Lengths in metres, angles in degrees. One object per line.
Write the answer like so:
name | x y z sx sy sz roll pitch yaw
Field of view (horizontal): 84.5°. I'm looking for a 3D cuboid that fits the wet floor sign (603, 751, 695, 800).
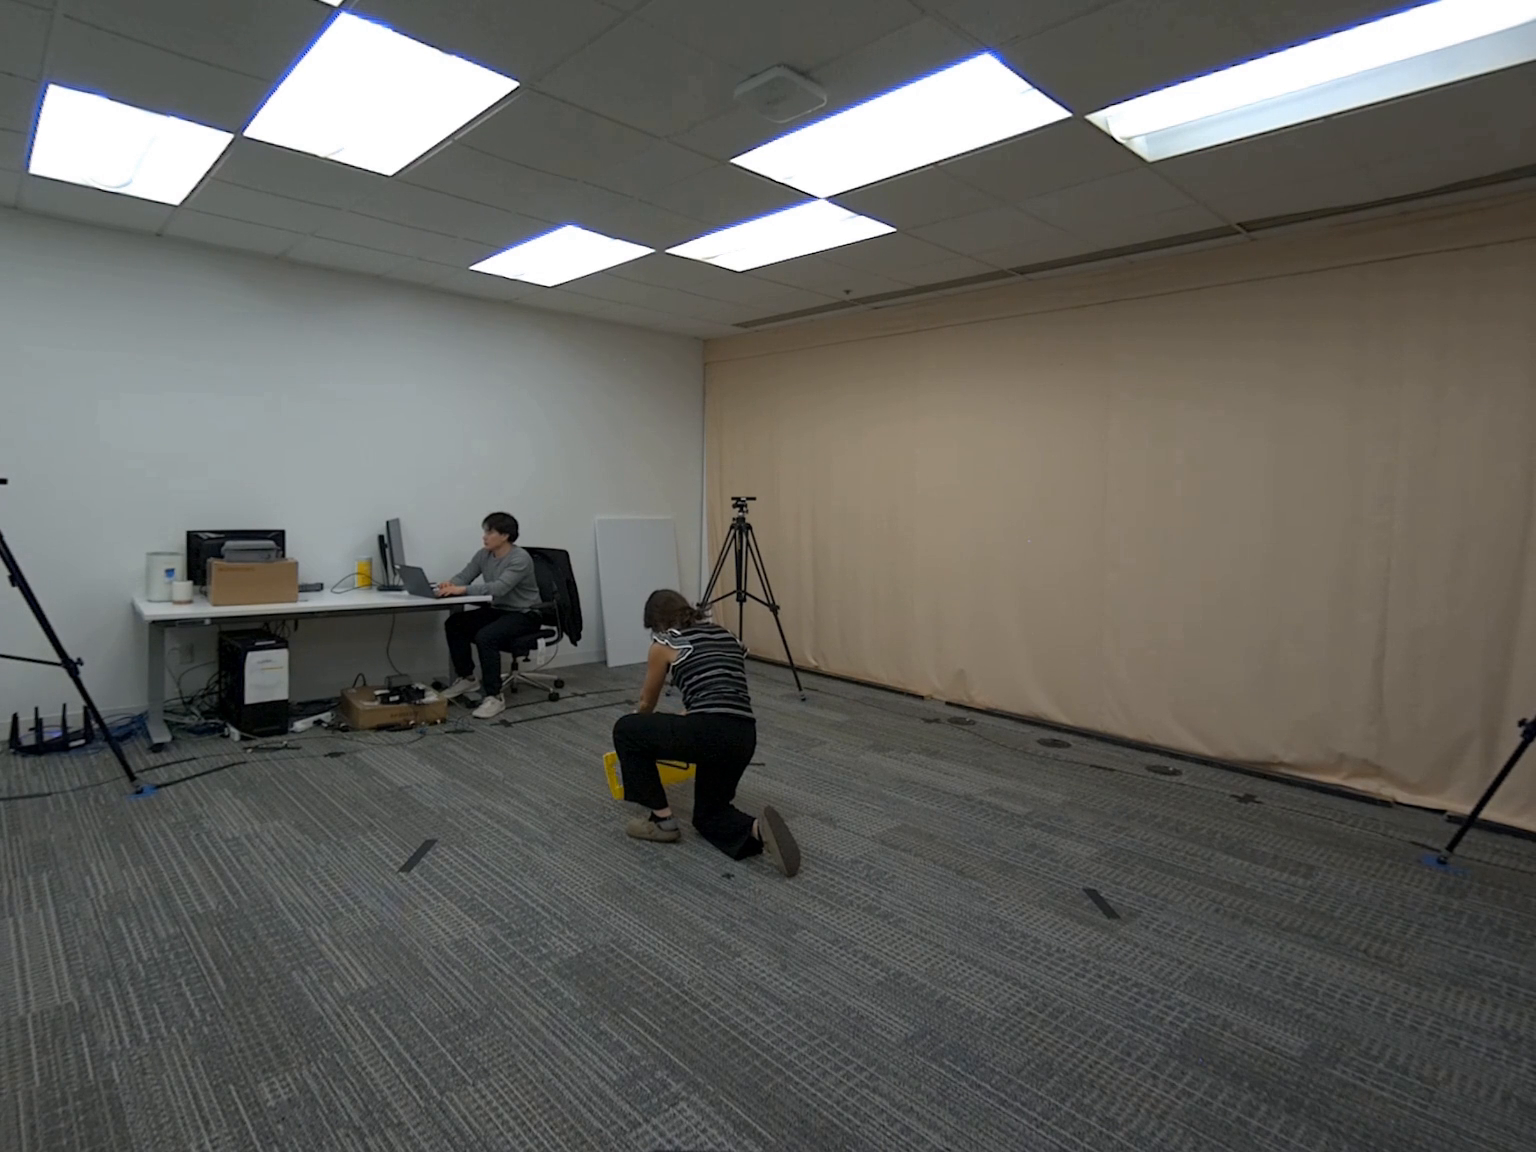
wet floor sign | -0.477 0.830 3.883 0.634 0.284 0.294 -12 -6 -41
